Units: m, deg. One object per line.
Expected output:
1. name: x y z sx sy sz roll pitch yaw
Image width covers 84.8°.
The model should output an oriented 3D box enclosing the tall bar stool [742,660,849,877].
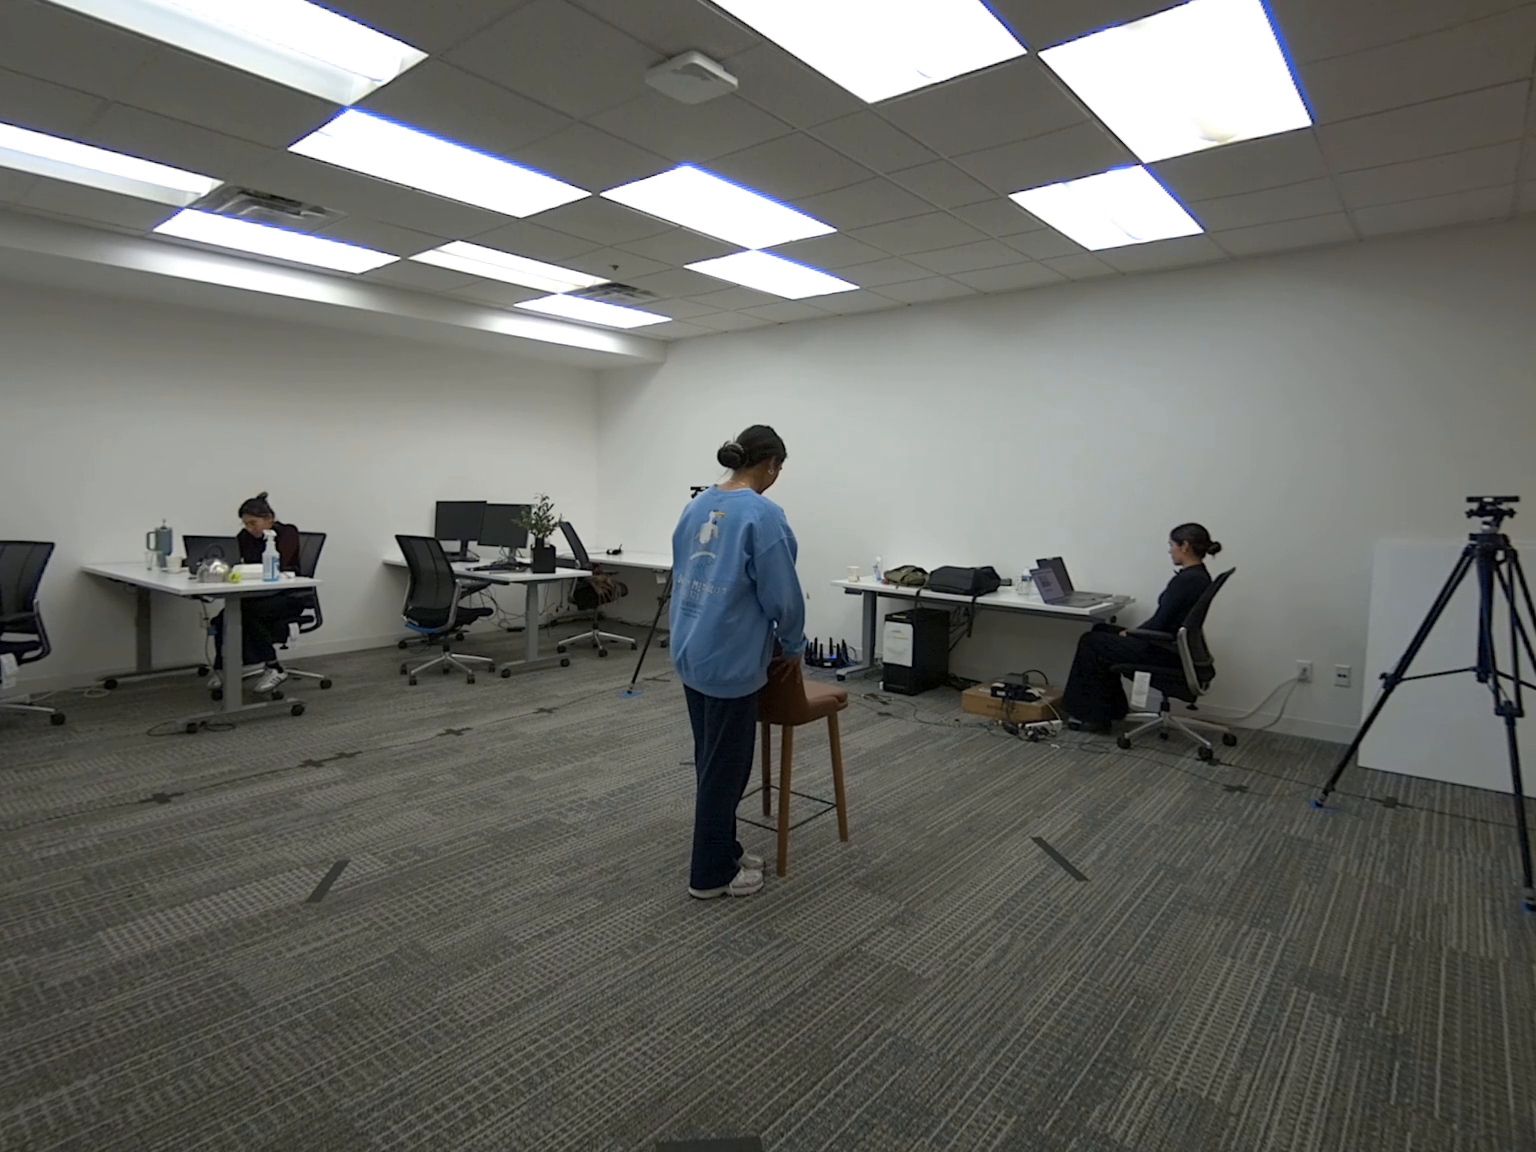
1. tall bar stool: 0.024 0.611 3.311 0.471 0.885 0.455 3 6 38
